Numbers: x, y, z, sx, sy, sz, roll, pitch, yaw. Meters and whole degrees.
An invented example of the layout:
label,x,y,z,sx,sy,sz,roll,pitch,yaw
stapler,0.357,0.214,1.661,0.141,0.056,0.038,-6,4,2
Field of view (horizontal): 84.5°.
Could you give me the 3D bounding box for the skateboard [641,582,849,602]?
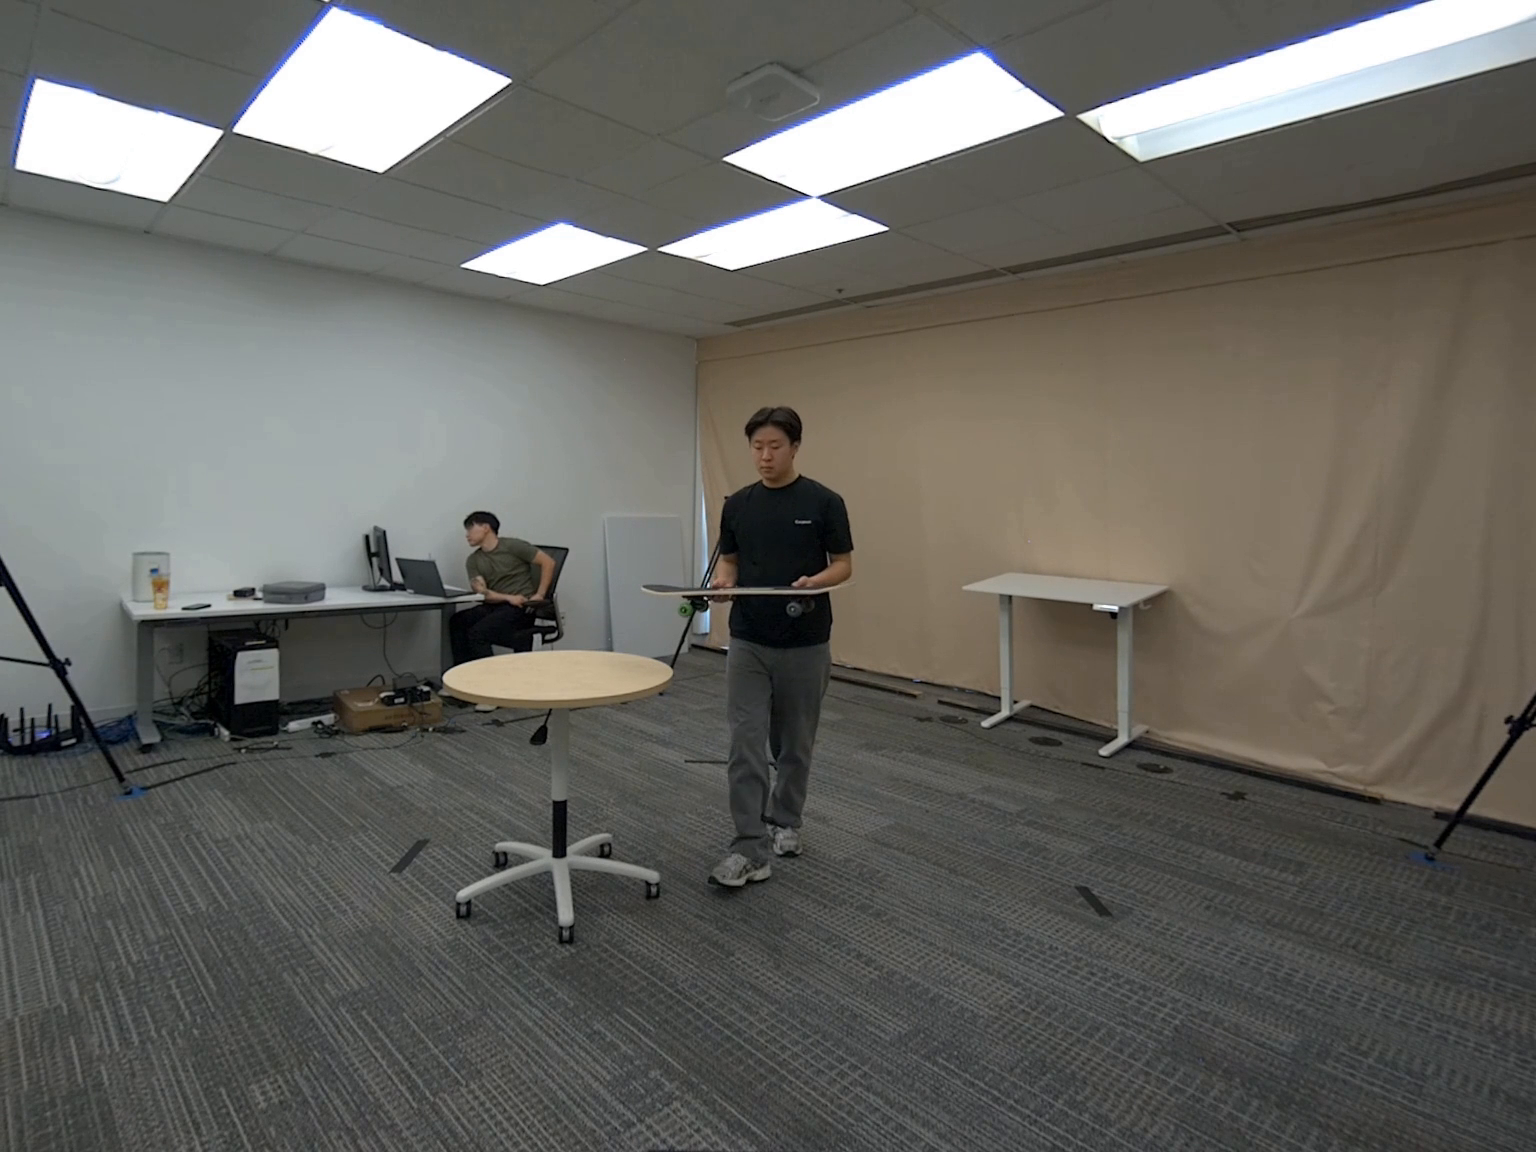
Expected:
label,x,y,z,sx,sy,sz,roll,pitch,yaw
skateboard,-0.082,0.084,2.928,0.798,0.110,0.190,-1,2,21
